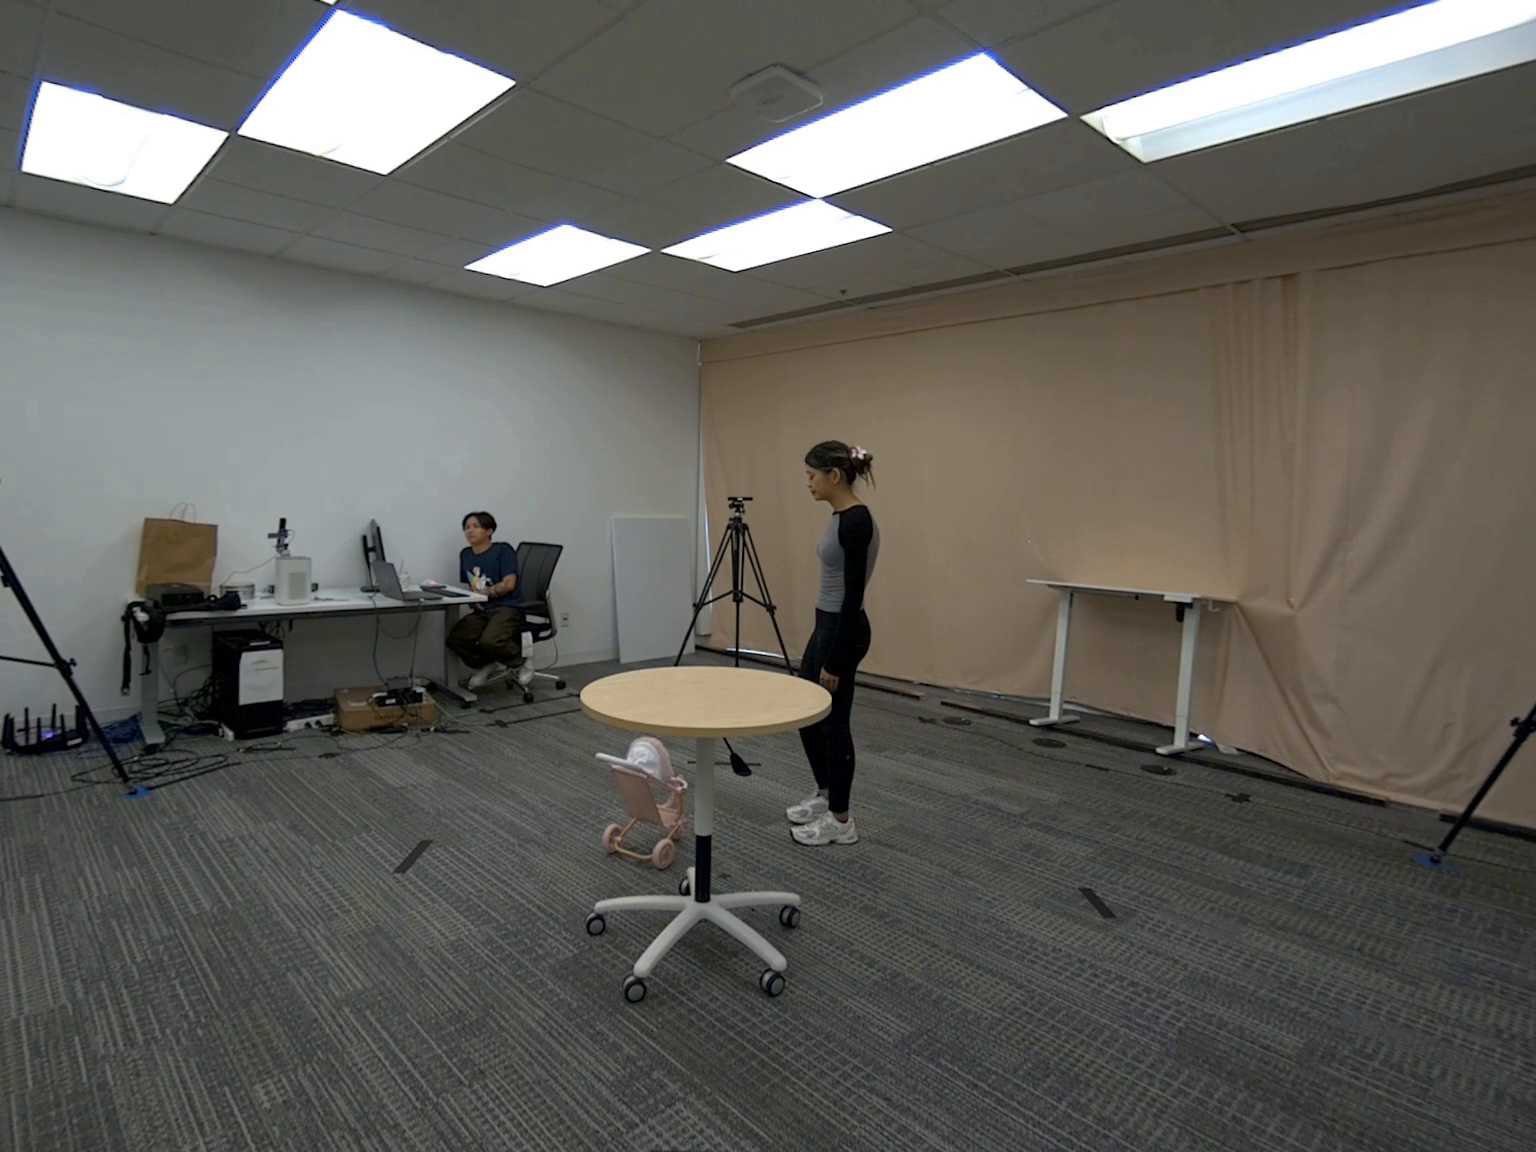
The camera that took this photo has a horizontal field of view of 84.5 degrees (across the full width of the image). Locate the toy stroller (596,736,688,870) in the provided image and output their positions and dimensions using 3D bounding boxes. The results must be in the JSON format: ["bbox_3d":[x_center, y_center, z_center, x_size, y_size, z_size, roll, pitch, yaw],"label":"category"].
[{"bbox_3d":[-0.465,0.860,3.265,0.288,0.528,0.337,5,20,35],"label":"toy stroller"}]
